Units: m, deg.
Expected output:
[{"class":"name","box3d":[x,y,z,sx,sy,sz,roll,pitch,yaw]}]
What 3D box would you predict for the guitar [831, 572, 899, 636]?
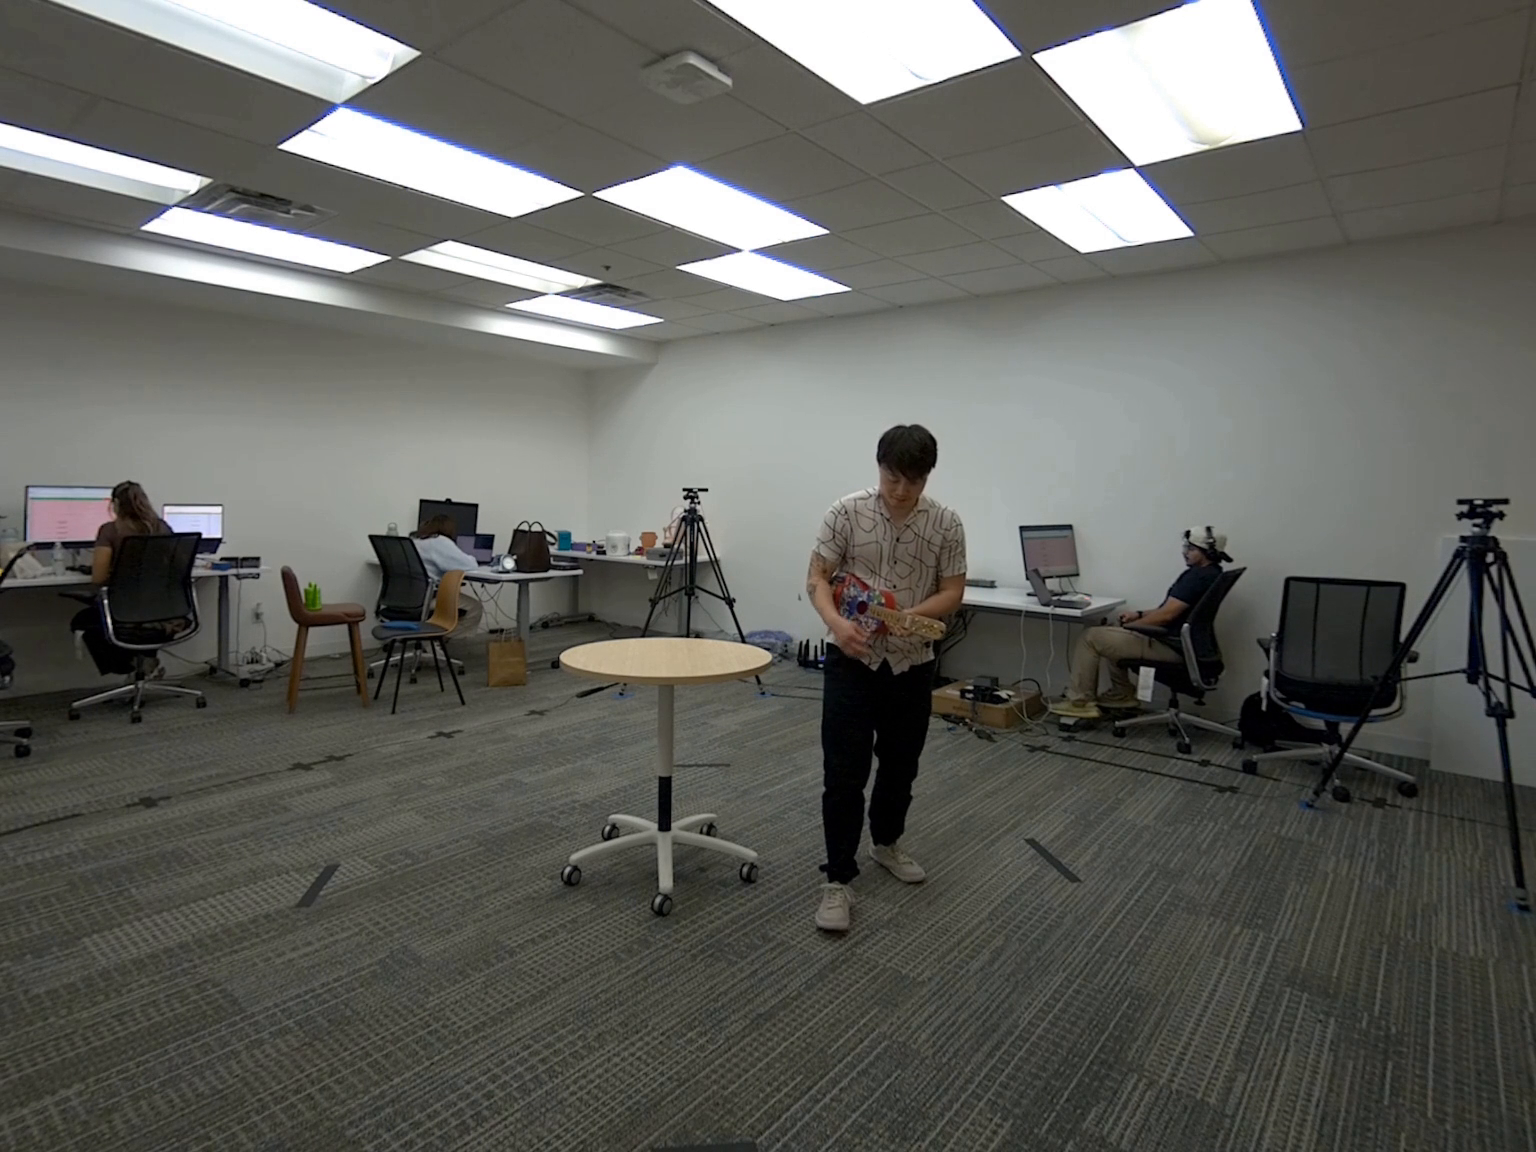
[{"class":"guitar","box3d":[0.362,0.145,2.776,0.068,0.192,0.519,16,9,-42]}]
